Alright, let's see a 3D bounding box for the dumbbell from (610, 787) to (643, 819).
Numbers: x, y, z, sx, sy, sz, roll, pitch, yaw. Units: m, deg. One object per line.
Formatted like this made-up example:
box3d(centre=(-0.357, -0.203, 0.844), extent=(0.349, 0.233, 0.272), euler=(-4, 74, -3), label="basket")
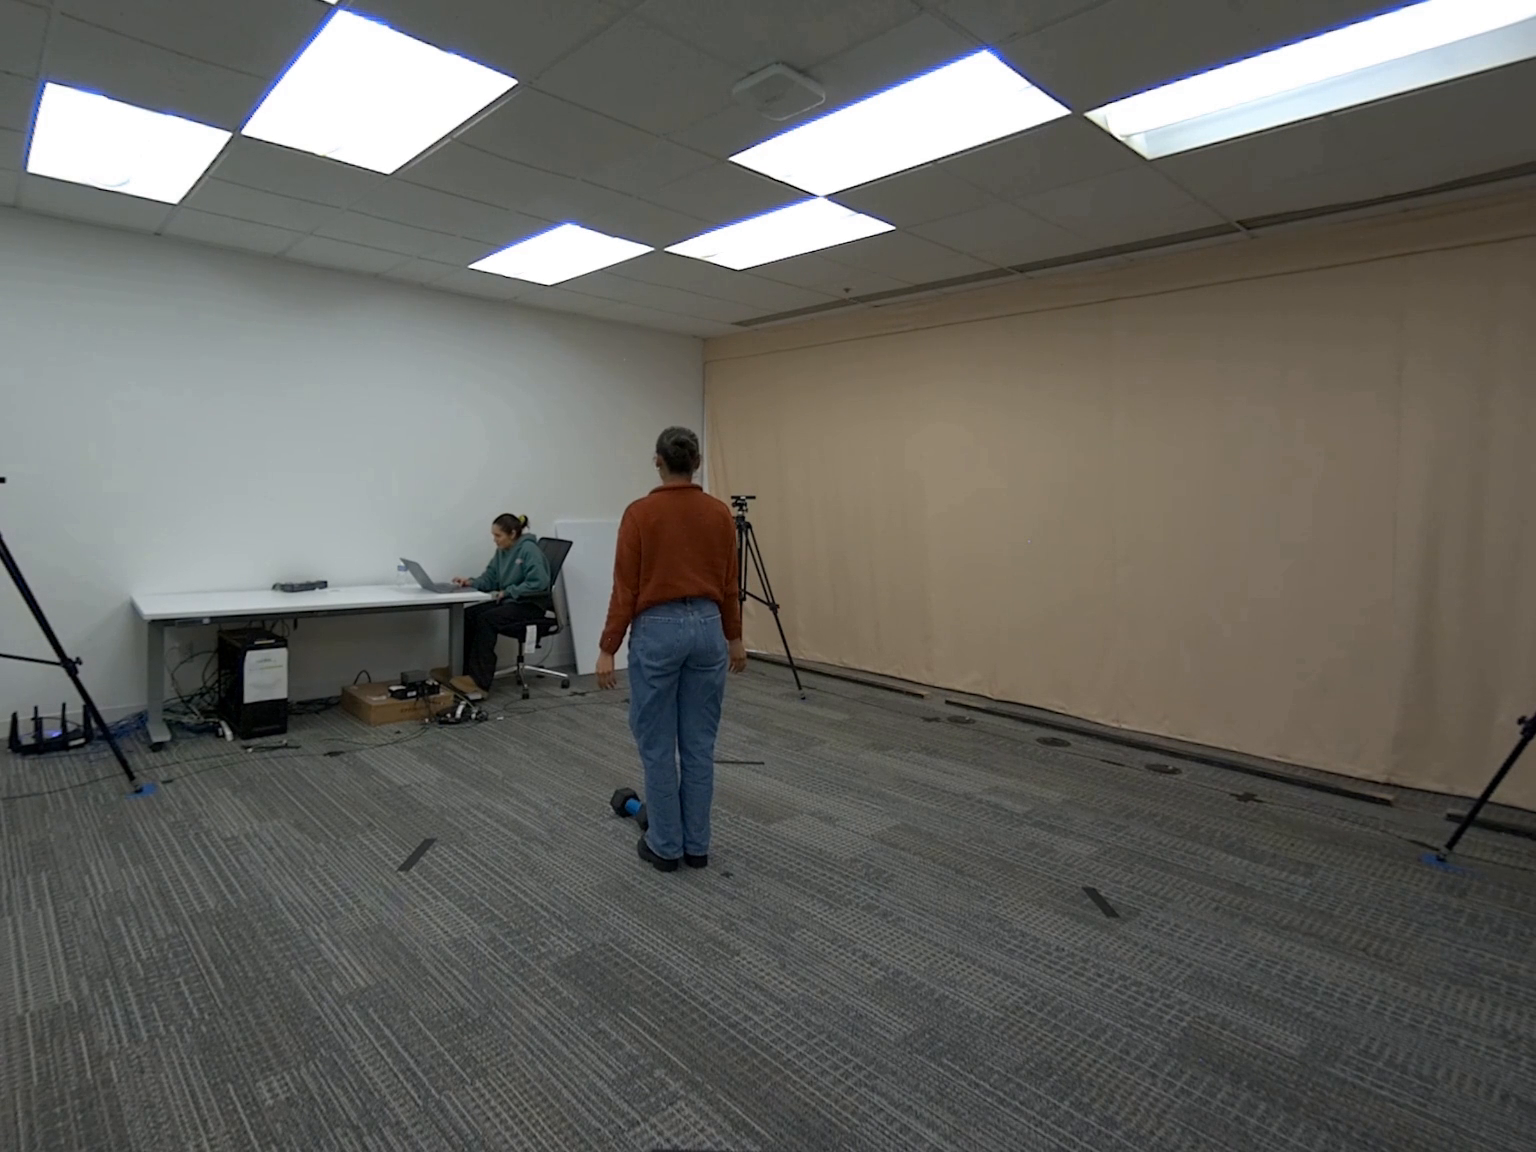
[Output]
box3d(centre=(-0.562, 0.996, 3.591), extent=(0.108, 0.120, 0.301), euler=(-38, 26, -30), label="dumbbell")
